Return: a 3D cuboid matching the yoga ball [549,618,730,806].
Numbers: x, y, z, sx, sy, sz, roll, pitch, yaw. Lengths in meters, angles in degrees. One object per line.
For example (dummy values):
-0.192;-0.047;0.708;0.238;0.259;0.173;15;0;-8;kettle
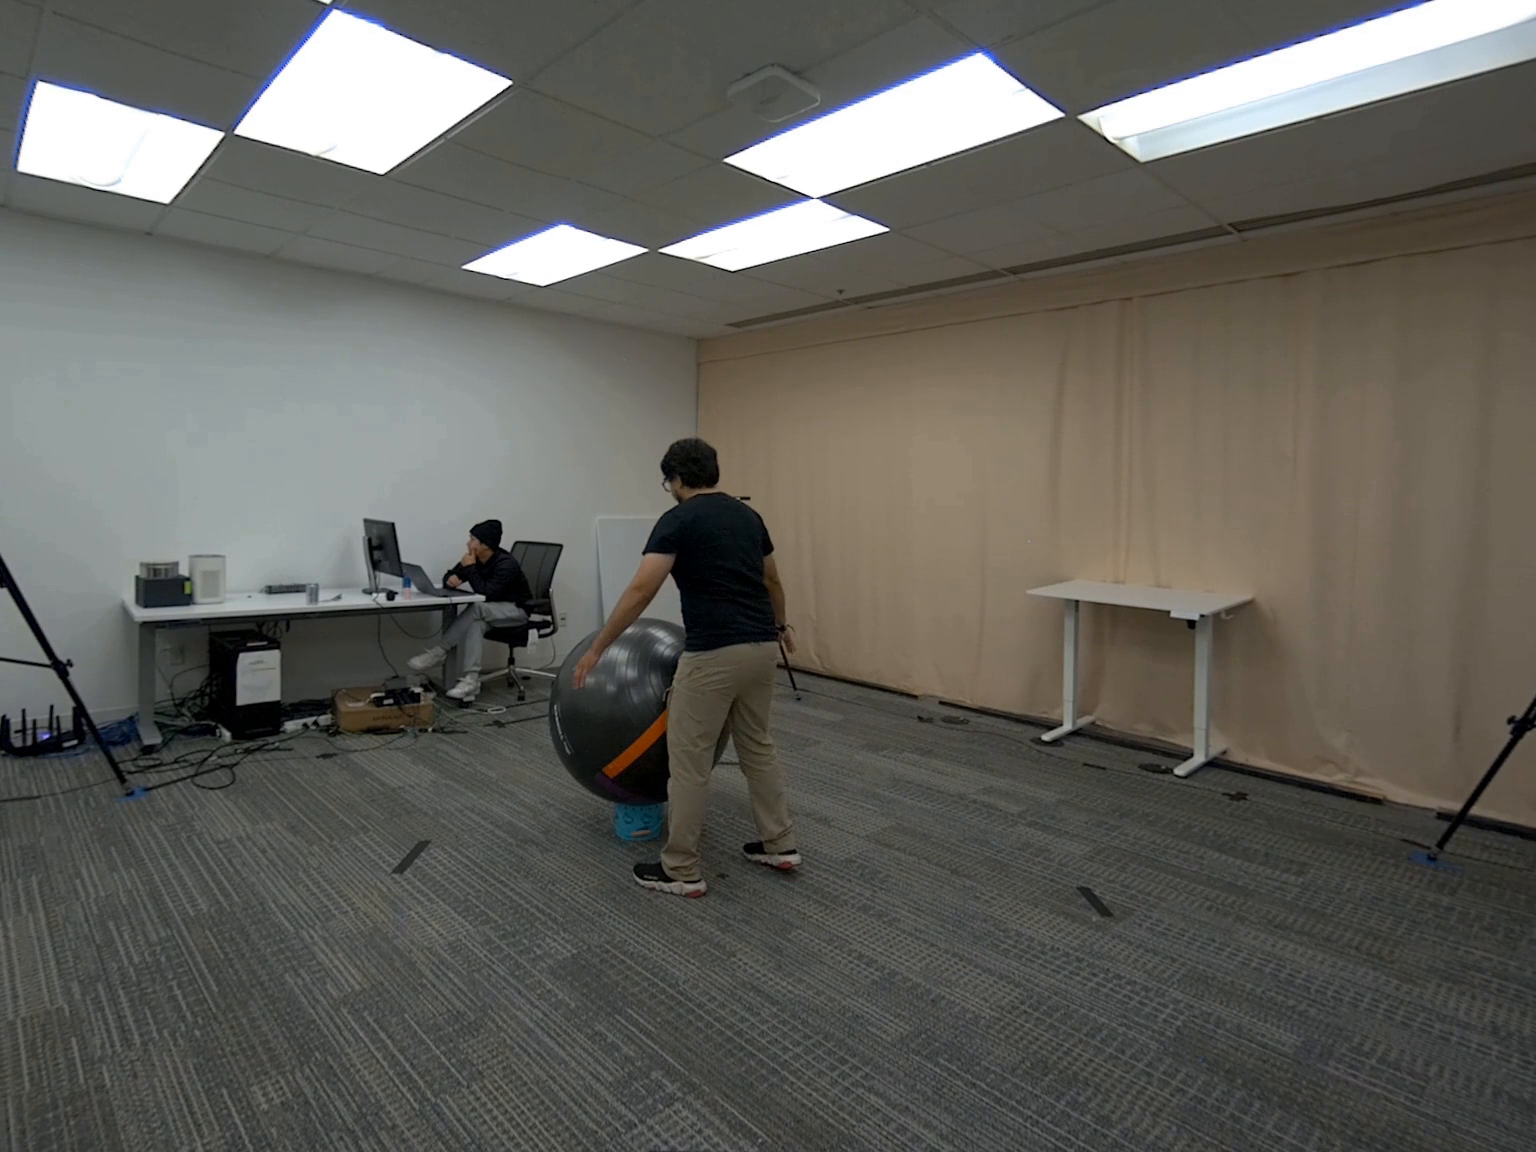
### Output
-0.531;0.561;3.489;0.757;0.756;0.761;1;4;-1;yoga ball
